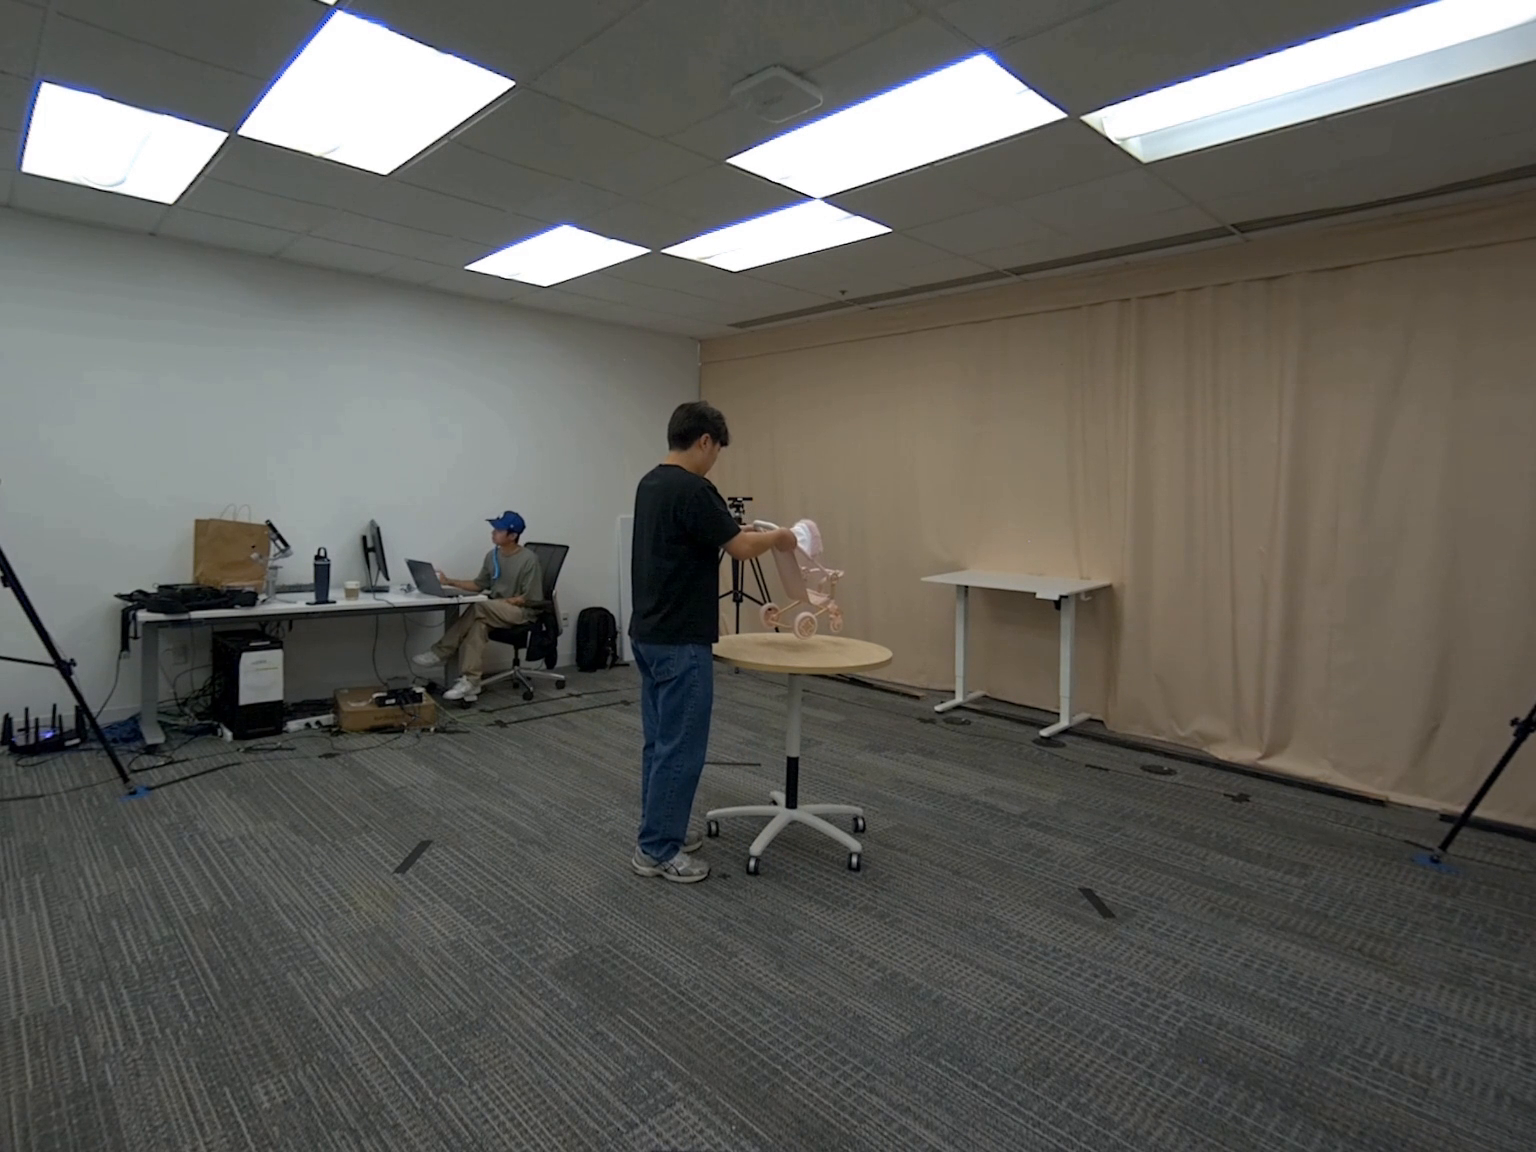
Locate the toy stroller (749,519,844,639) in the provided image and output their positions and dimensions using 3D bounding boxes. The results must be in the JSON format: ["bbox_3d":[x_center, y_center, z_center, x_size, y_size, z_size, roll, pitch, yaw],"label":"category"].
[{"bbox_3d":[0.141,0.012,3.446,0.336,0.531,0.288,-13,11,-25],"label":"toy stroller"}]
